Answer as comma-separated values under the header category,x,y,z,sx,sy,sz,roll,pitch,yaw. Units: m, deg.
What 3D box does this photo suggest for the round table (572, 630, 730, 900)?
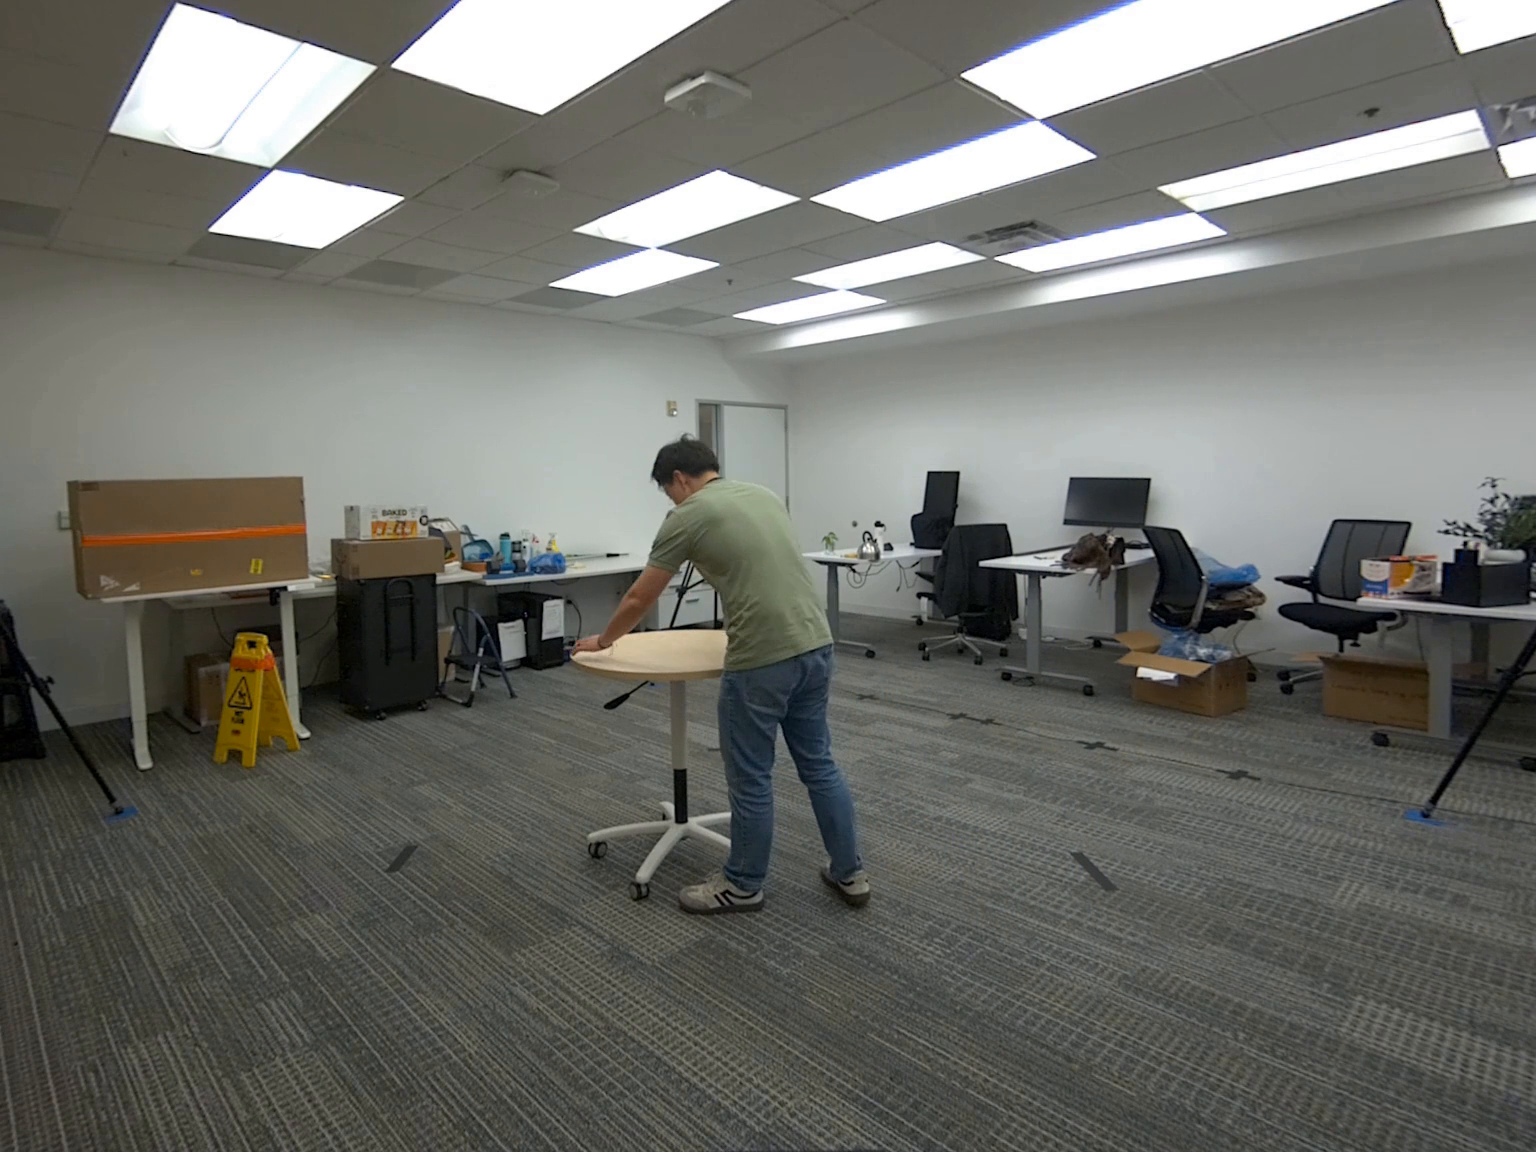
category,x,y,z,sx,sy,sz,roll,pitch,yaw
round table,-0.315,0.655,3.134,0.763,0.791,0.768,-1,5,-2
